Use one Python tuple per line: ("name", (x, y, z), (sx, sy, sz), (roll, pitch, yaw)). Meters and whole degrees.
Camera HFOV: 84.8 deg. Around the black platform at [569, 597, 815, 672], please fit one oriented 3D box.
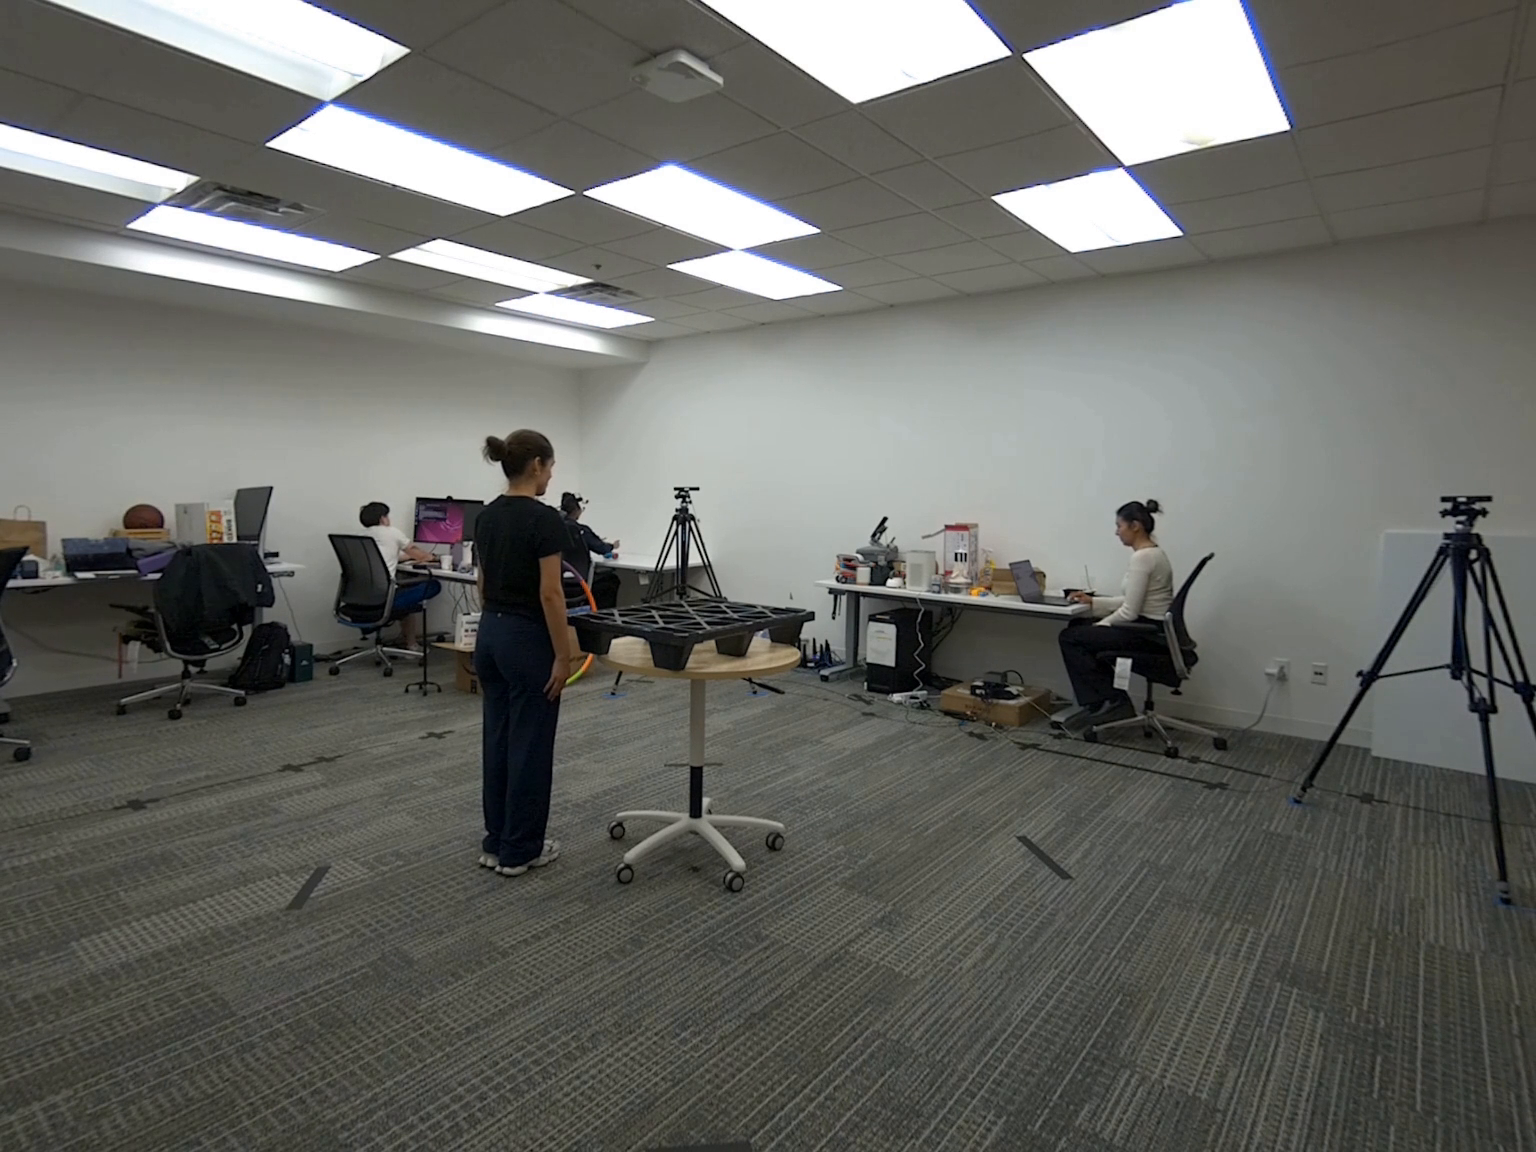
("black platform", (-0.277, 0.208, 3.255), (0.625, 0.143, 0.782), (6, 7, 38))
